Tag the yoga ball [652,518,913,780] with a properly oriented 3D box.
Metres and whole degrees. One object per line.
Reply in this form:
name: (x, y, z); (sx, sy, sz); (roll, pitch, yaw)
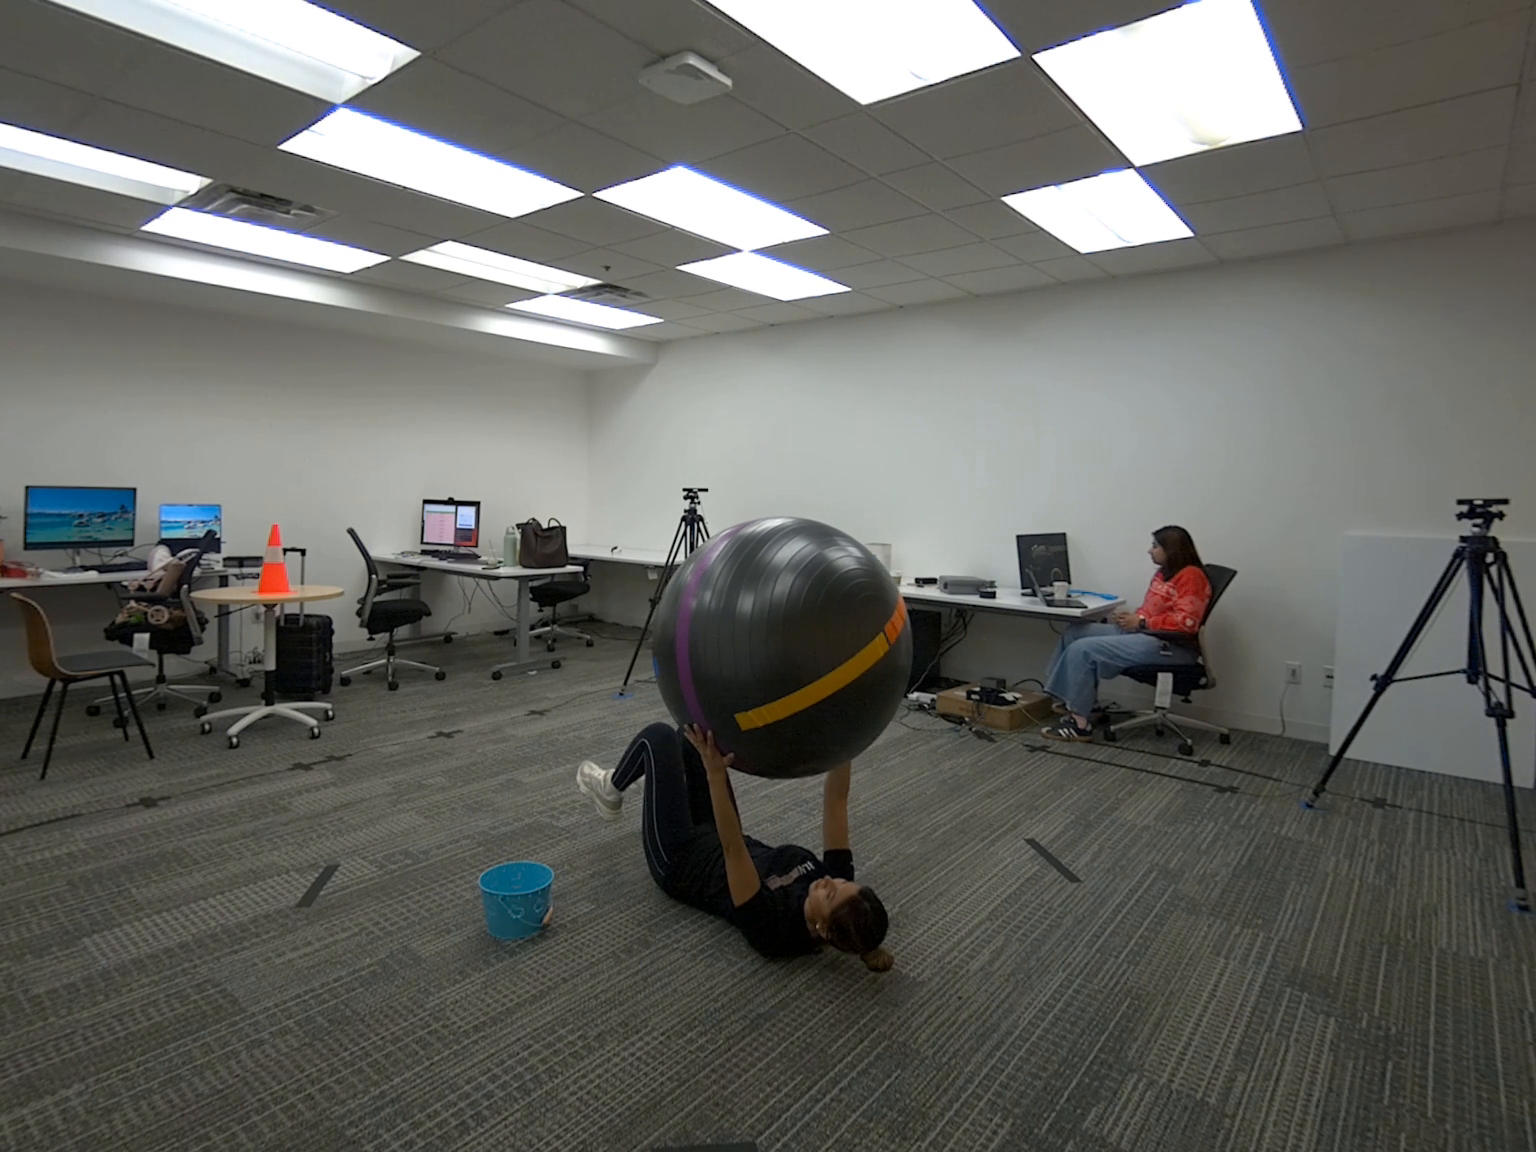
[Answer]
yoga ball: (0.031, 0.205, 2.496); (0.757, 0.756, 0.761); (-3, 3, -2)
